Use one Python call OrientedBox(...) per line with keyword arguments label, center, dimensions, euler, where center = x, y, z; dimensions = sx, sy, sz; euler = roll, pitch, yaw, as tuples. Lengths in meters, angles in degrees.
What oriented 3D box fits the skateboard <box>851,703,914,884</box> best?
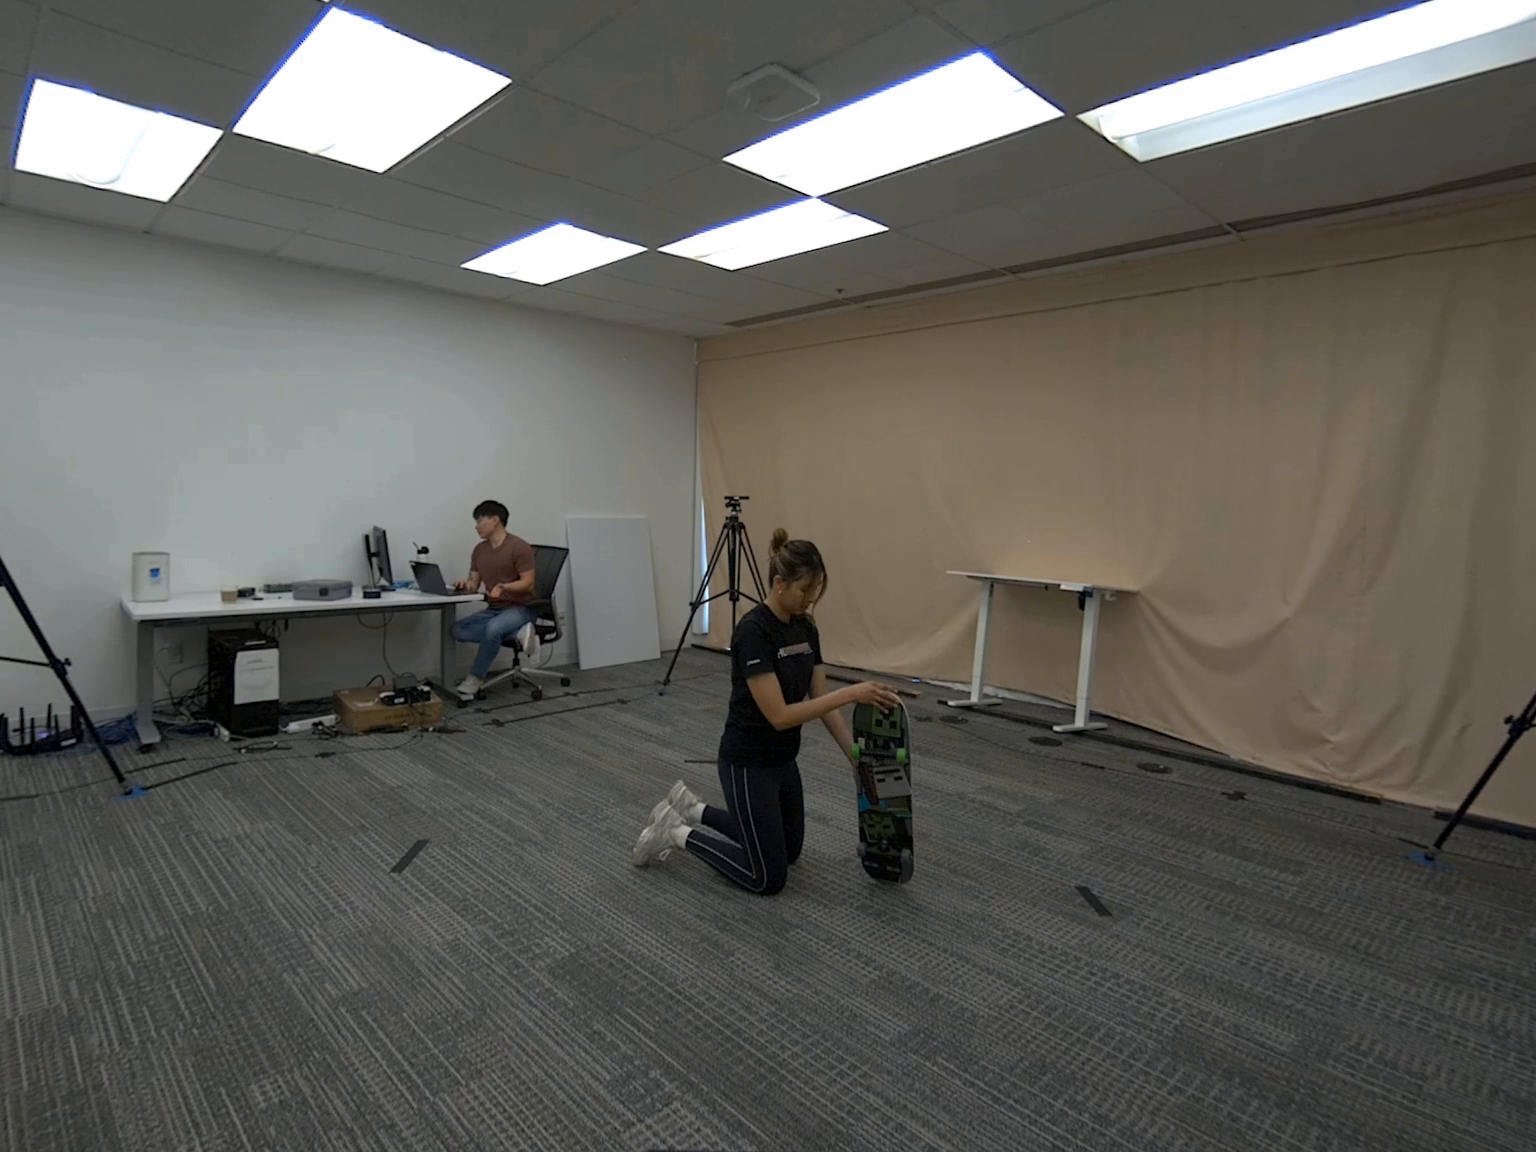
OrientedBox(label="skateboard", center=(0.388, 0.769, 2.900), dimensions=(0.196, 0.774, 0.110), euler=(2, 20, 19))
